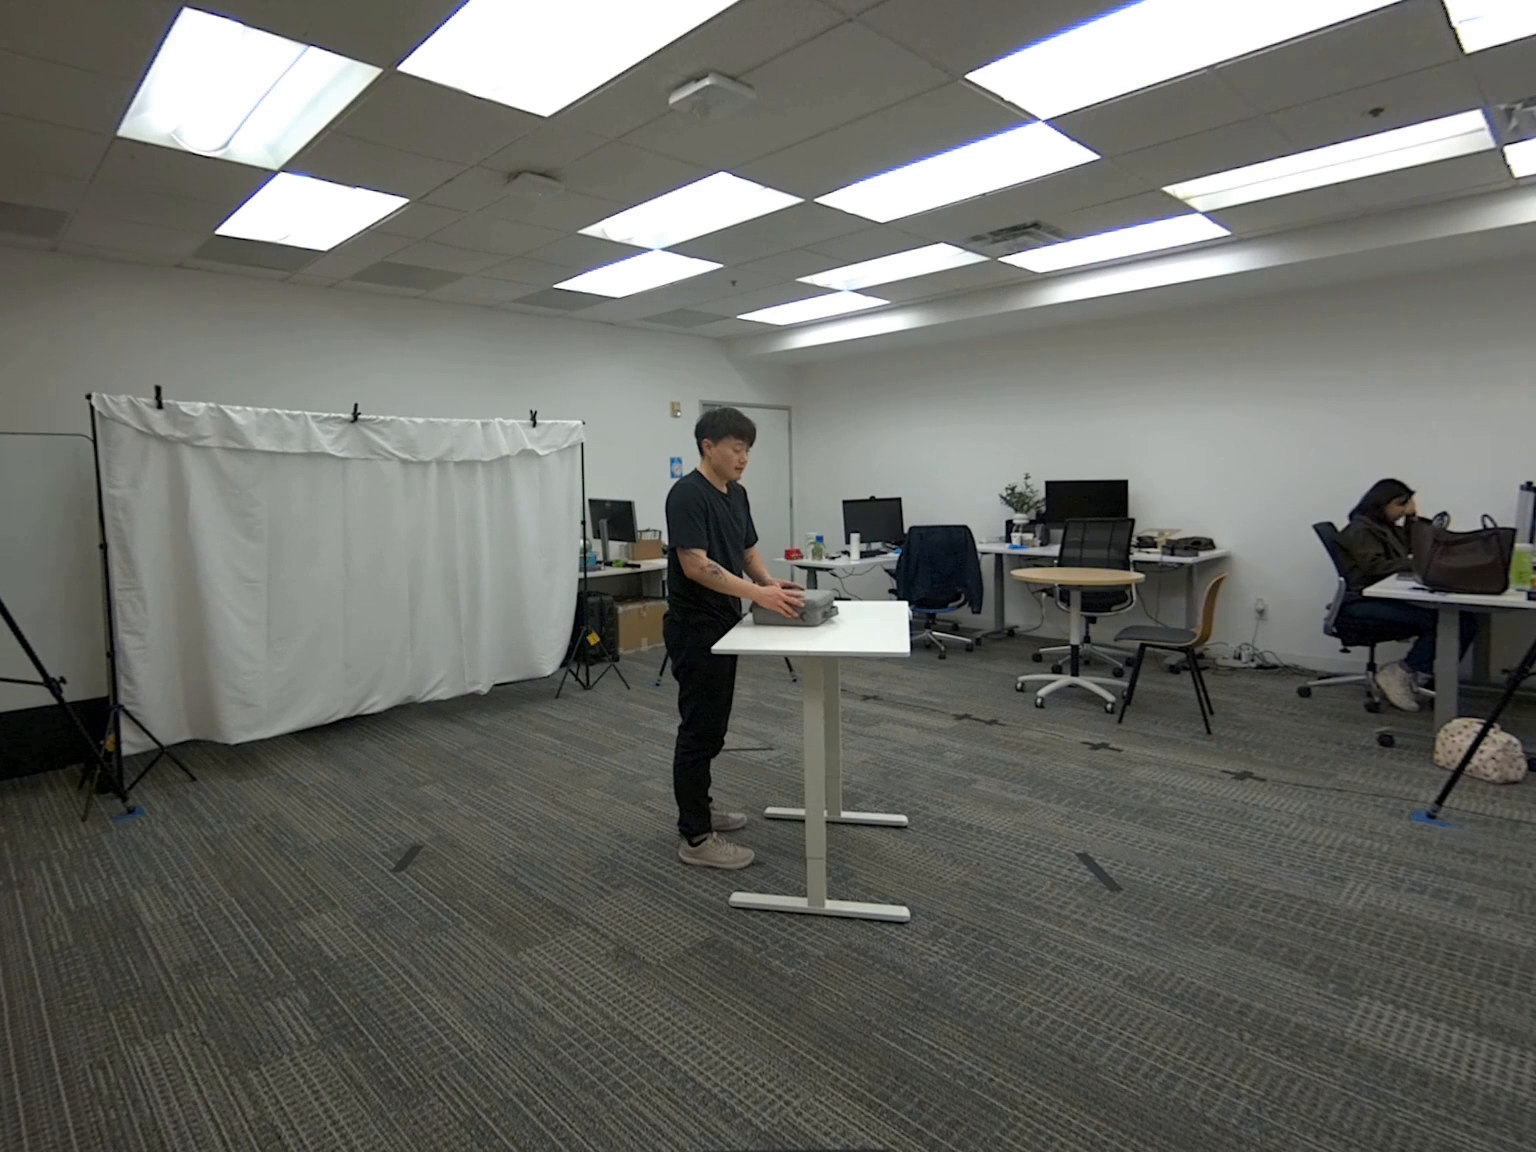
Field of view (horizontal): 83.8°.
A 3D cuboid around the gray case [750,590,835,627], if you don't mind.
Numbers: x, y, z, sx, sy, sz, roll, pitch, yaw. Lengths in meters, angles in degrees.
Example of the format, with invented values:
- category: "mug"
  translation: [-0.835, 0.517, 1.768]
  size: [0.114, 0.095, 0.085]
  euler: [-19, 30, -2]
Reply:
- category: "gray case"
  translation: [0.099, 0.112, 3.104]
  size: [0.266, 0.104, 0.252]
  euler: [1, 5, 22]
